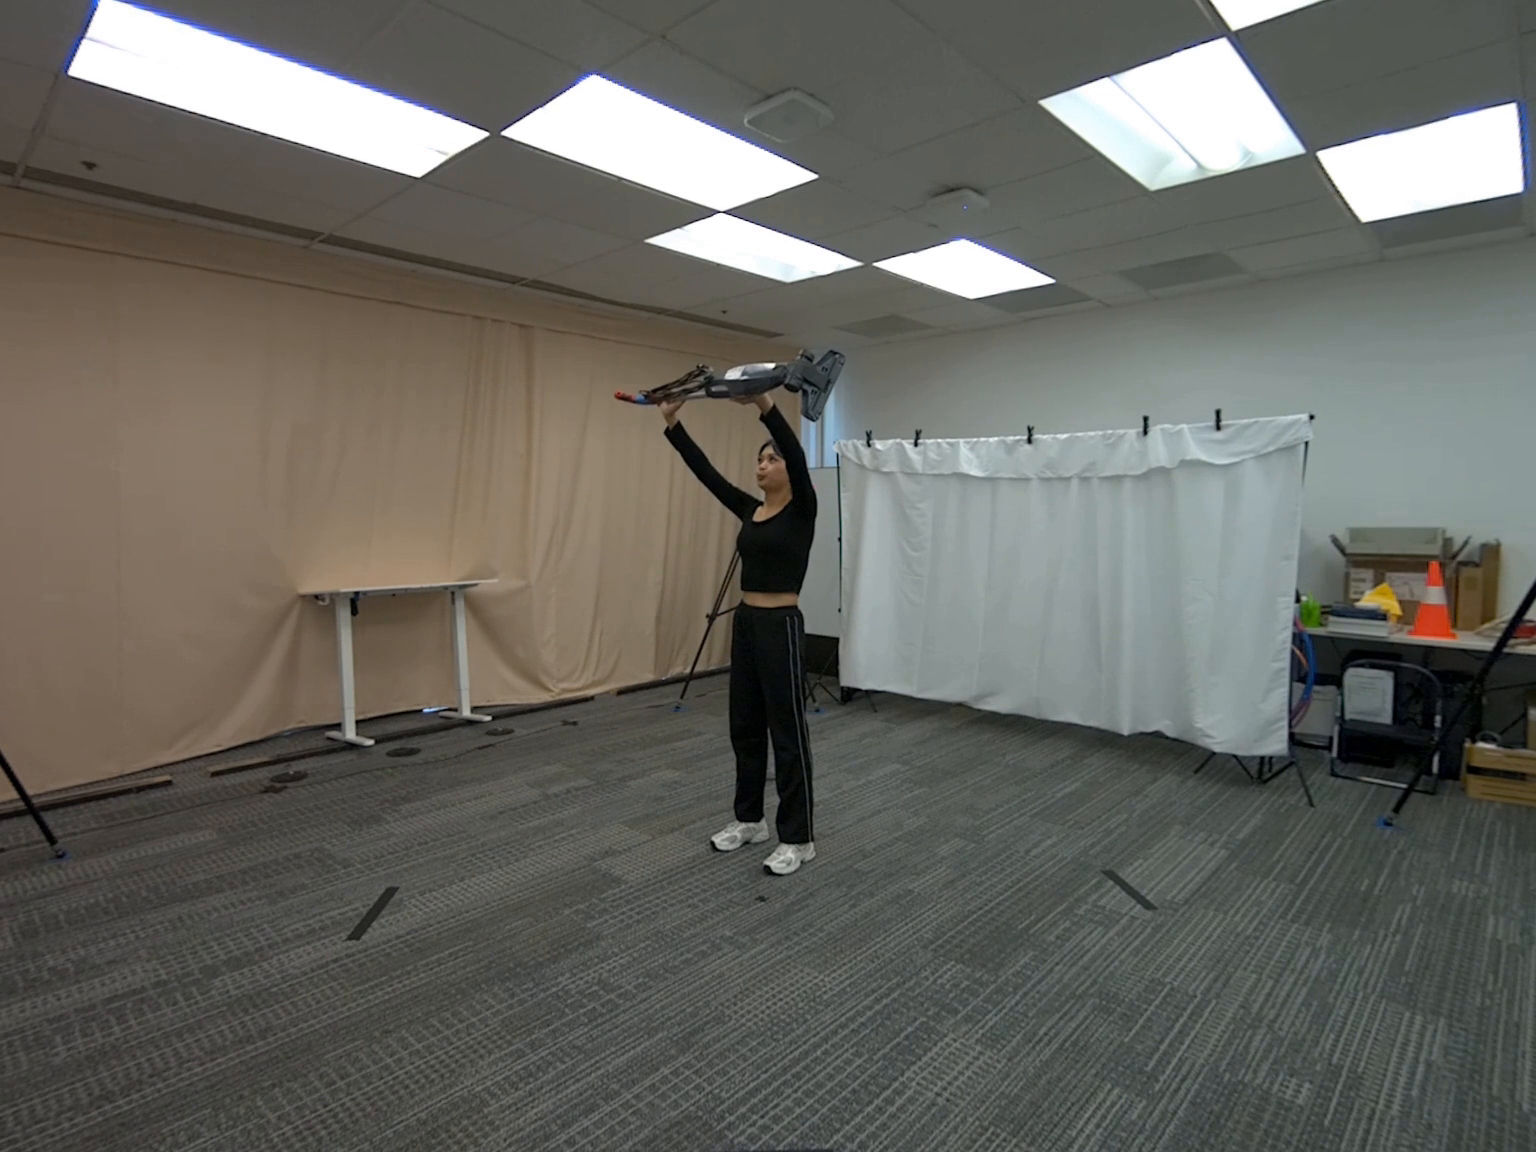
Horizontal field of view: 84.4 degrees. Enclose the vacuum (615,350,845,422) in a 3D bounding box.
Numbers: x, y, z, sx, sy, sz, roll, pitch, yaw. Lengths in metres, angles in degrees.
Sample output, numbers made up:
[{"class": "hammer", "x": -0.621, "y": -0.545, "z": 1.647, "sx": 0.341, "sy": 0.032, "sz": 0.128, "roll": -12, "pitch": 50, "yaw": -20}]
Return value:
[{"class": "vacuum", "x": -0.224, "y": -0.673, "z": 3.022, "sx": 1.086, "sy": 0.253, "sz": 0.139, "roll": 10, "pitch": -22, "yaw": 44}]
